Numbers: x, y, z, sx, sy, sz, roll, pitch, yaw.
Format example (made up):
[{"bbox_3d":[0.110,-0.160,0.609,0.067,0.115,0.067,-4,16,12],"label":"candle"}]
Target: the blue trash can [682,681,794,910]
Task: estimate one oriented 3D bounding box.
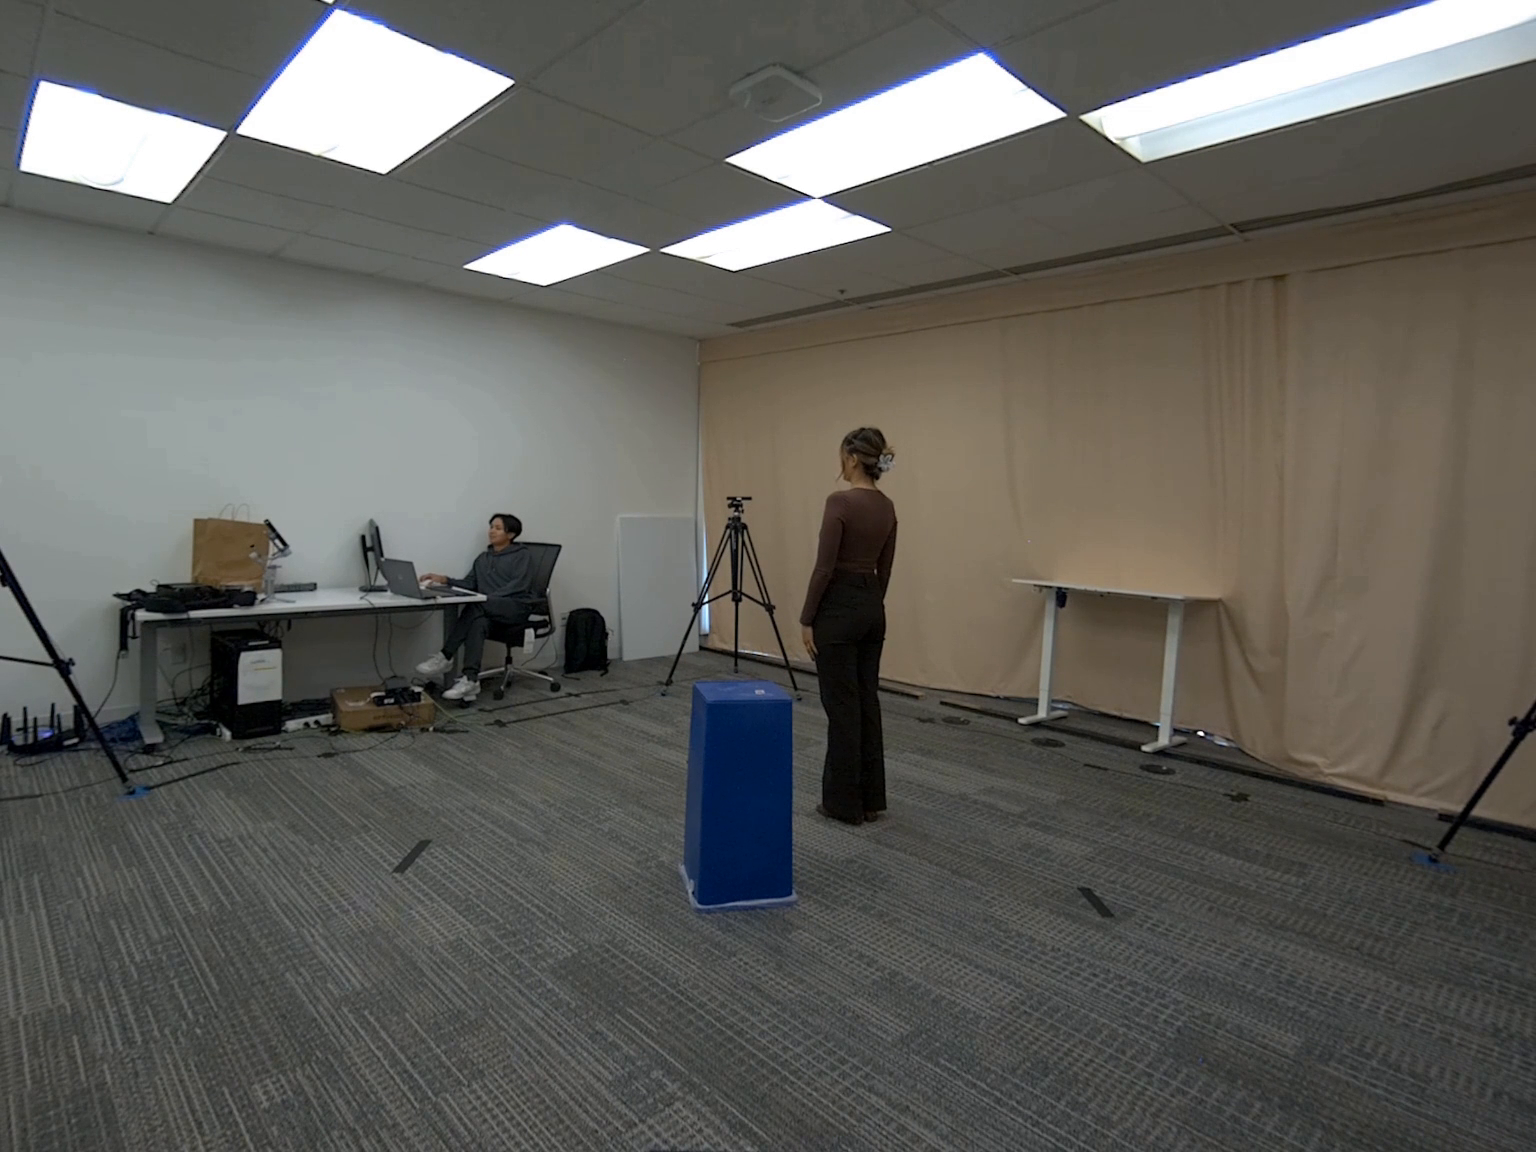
[{"bbox_3d":[-0.106,0.762,3.007,0.370,0.712,0.383,2,3,-14],"label":"blue trash can"}]
